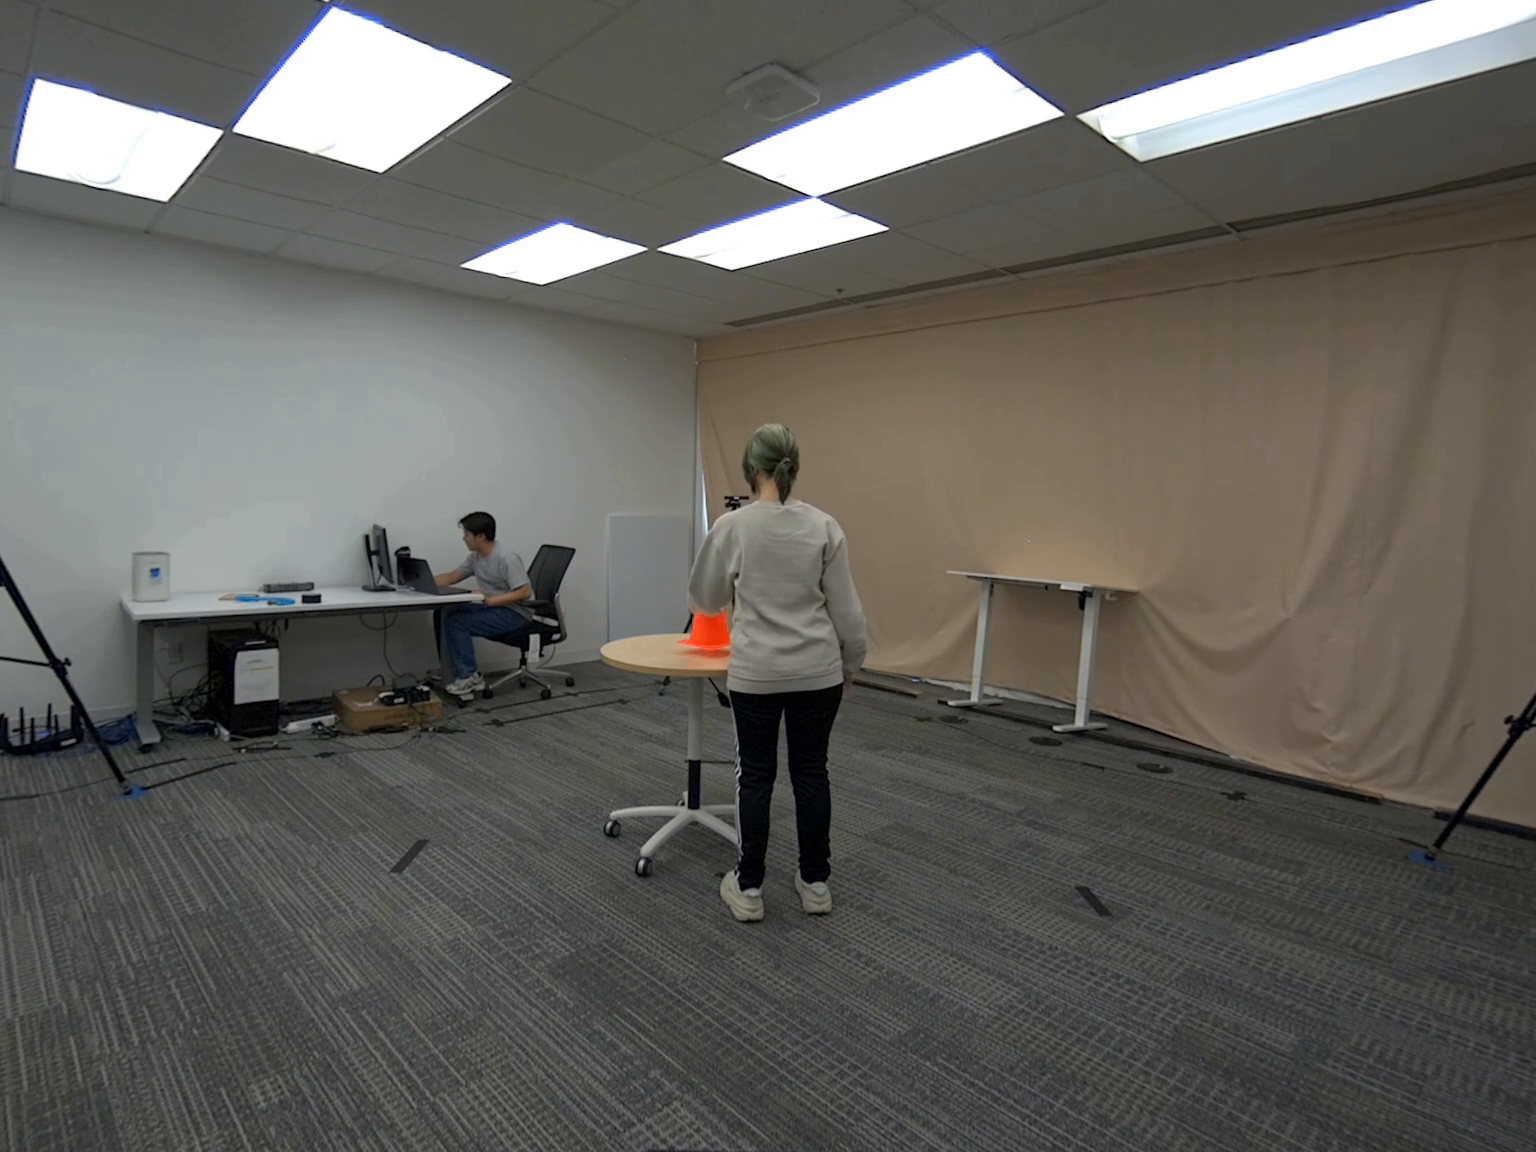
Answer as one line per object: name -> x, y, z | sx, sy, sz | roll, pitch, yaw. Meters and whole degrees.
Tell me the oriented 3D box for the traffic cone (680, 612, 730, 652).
traffic cone -> -0.225, 0.072, 3.277 | 0.208, 0.382, 0.201 | 4, 7, 34
